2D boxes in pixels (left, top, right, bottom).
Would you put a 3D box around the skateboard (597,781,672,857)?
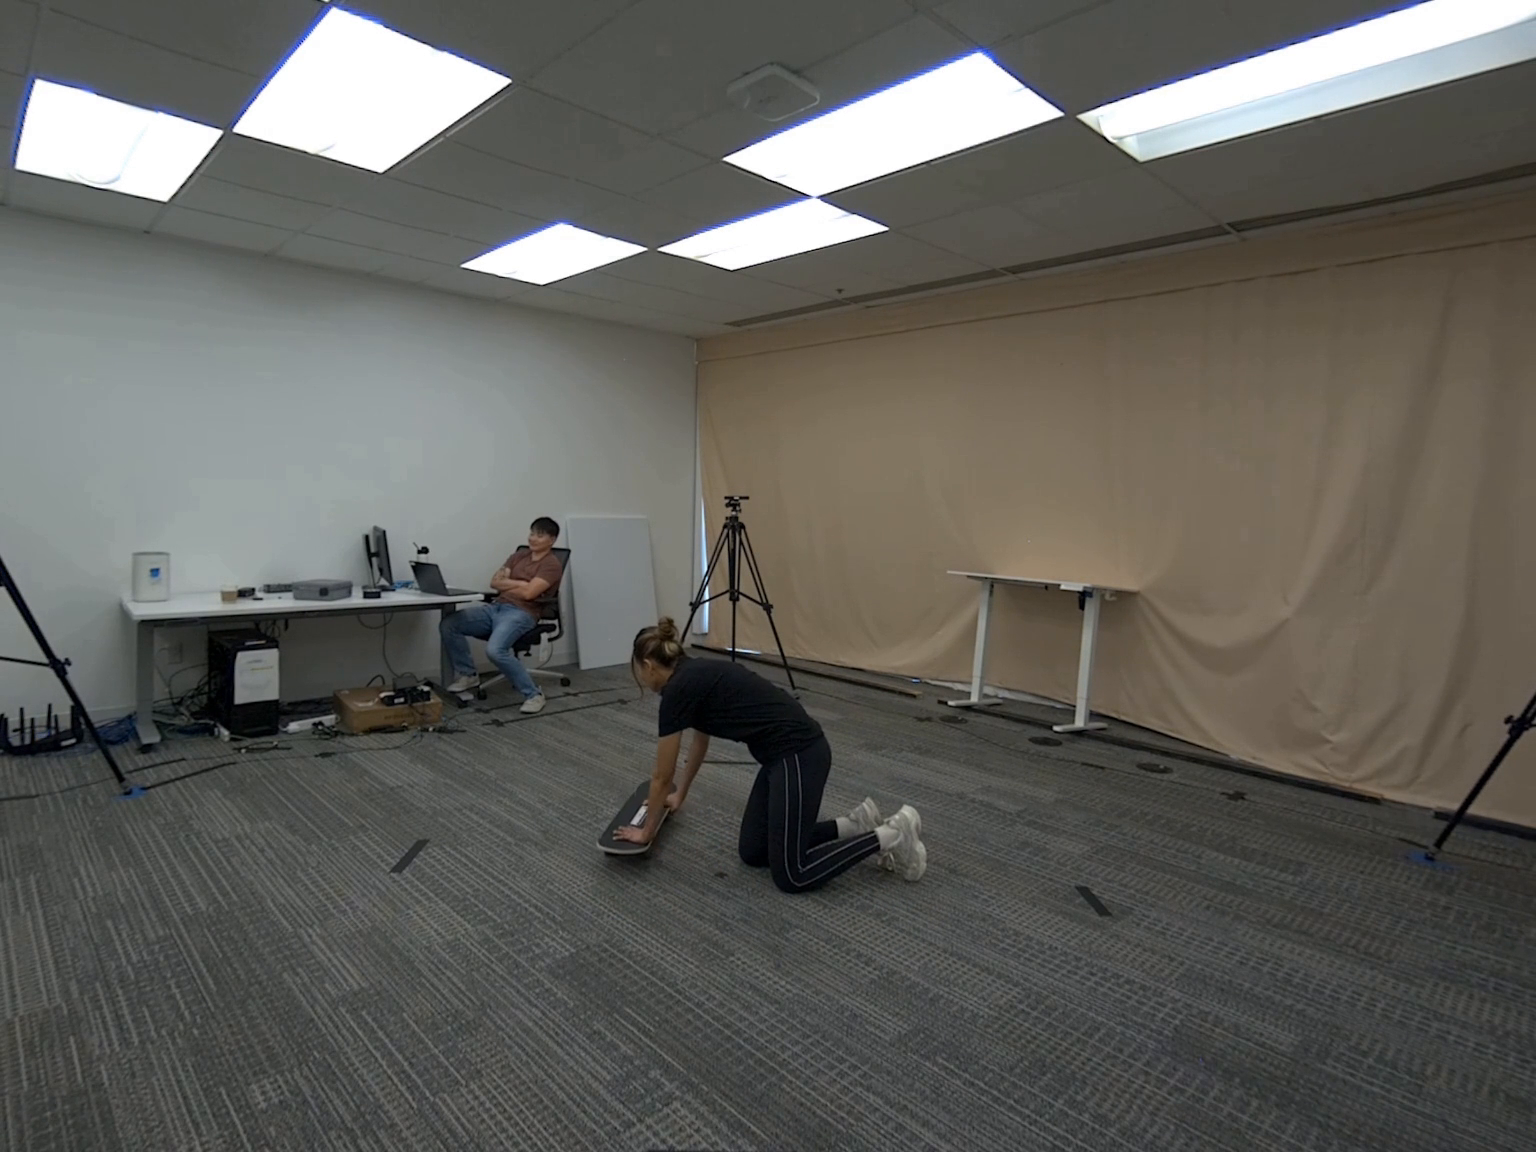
[{"bbox_3d":[-0.522,1.004,3.431,0.194,0.110,0.783,3,5,5],"label":"skateboard"}]
